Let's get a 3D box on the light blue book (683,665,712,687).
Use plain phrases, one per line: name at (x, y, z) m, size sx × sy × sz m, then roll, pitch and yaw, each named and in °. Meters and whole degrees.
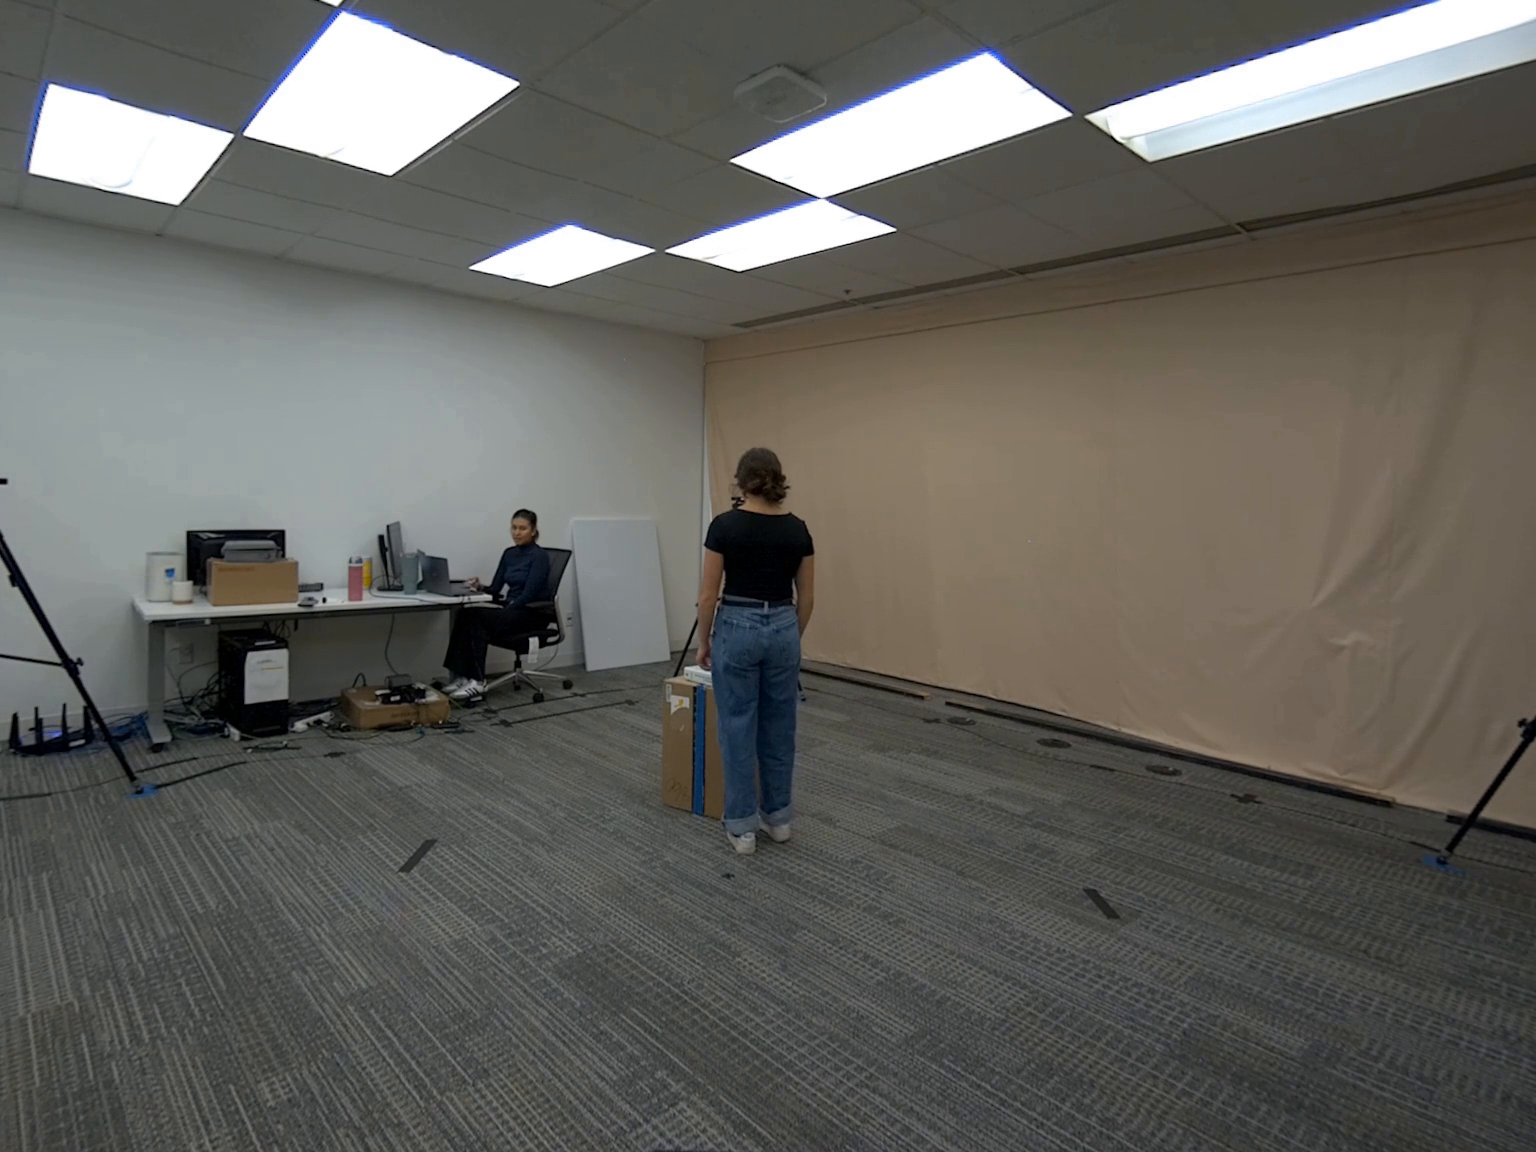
light blue book at (-0.231, 0.453, 3.814) m, size 0.187 × 0.059 × 0.267 m, roll 0°, pitch 4°, yaw -41°
